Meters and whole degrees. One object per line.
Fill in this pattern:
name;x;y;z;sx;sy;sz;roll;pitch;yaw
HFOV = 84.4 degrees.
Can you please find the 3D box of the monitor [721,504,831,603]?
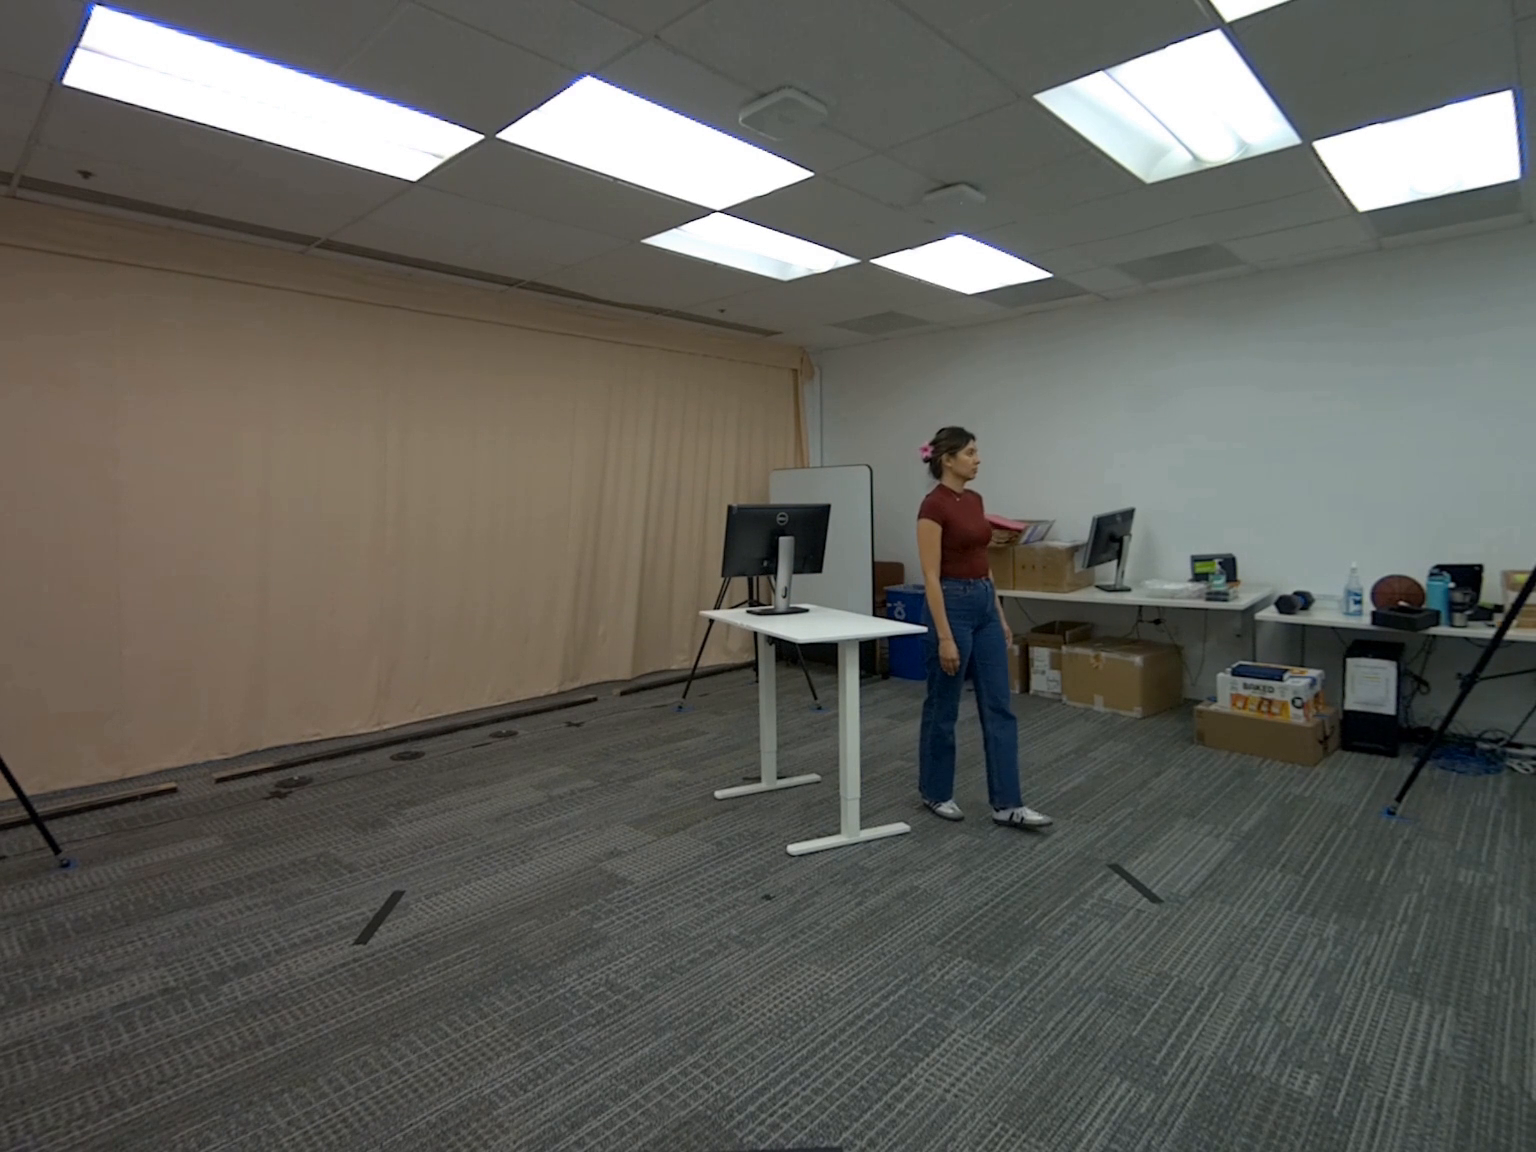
monitor;0.063;-0.075;3.978;0.527;0.521;0.192;-2;6;-24
